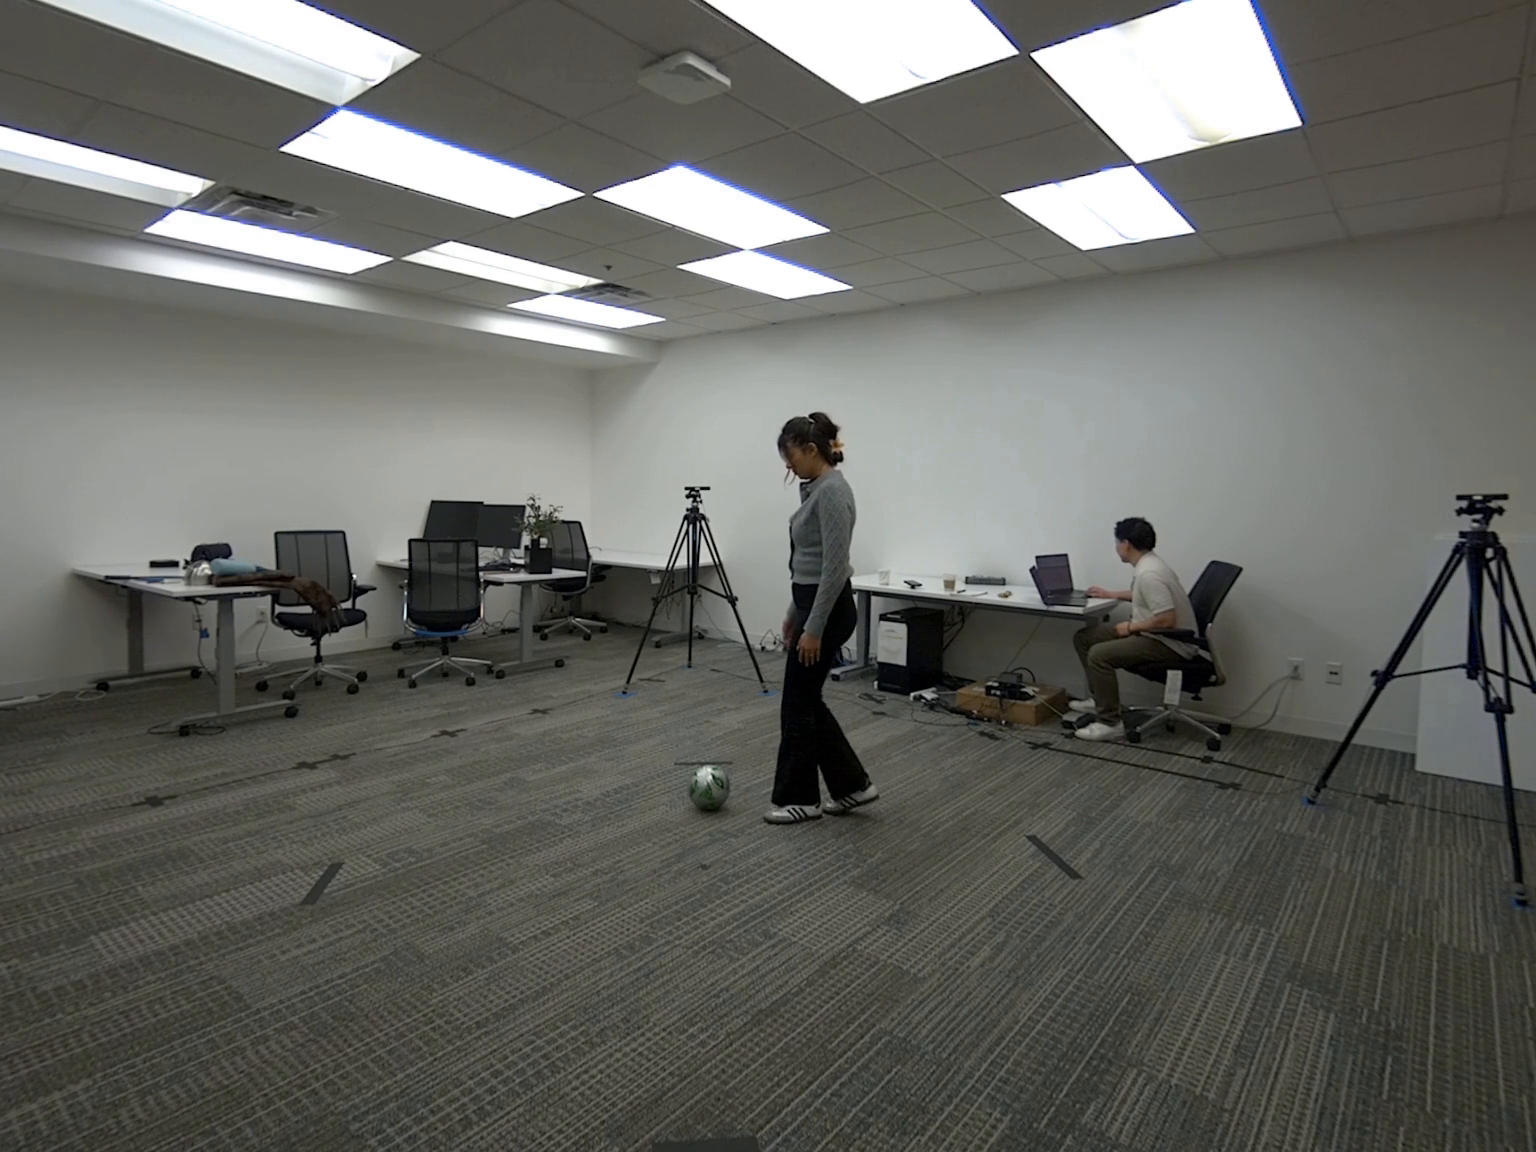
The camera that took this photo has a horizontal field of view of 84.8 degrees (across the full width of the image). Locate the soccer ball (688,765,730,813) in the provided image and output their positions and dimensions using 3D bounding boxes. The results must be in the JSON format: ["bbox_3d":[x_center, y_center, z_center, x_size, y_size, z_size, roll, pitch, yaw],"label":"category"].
[{"bbox_3d":[-0.270,0.912,3.692,0.187,0.187,0.188,1,4,-2],"label":"soccer ball"}]
